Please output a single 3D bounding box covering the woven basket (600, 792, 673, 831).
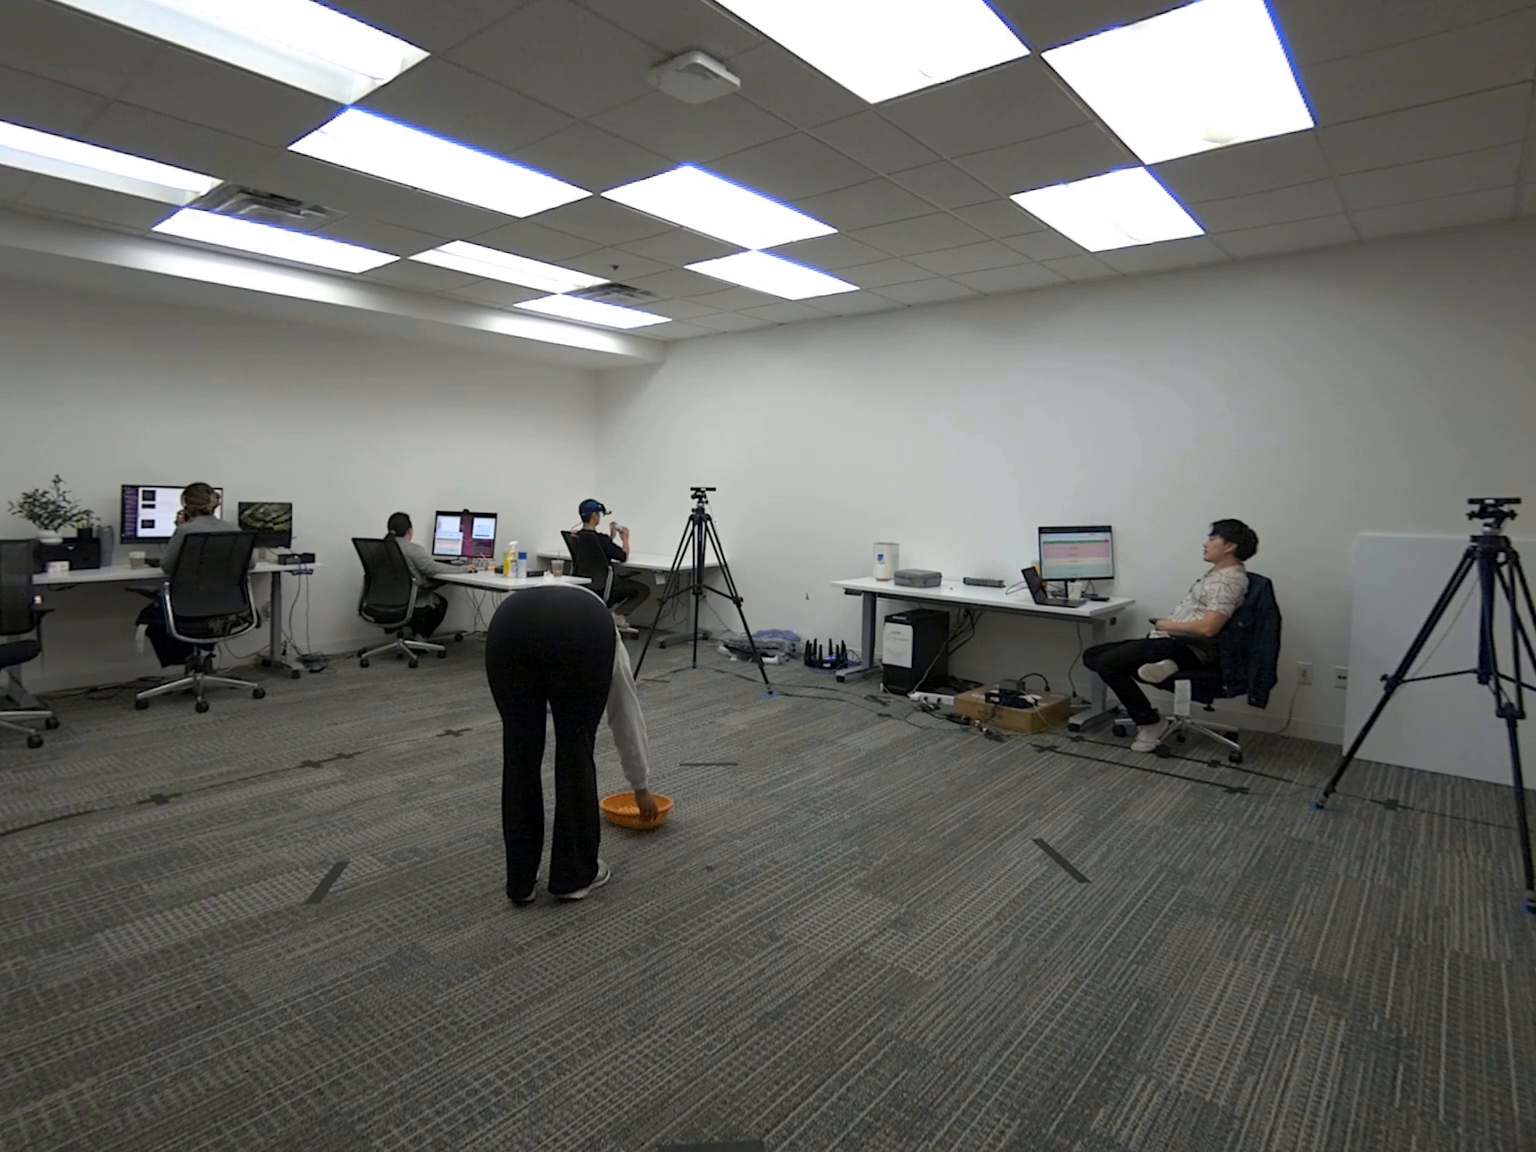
[{"bbox_3d":[-0.561,0.965,3.526,0.245,0.073,0.361,-3,2,-42],"label":"woven basket"}]
